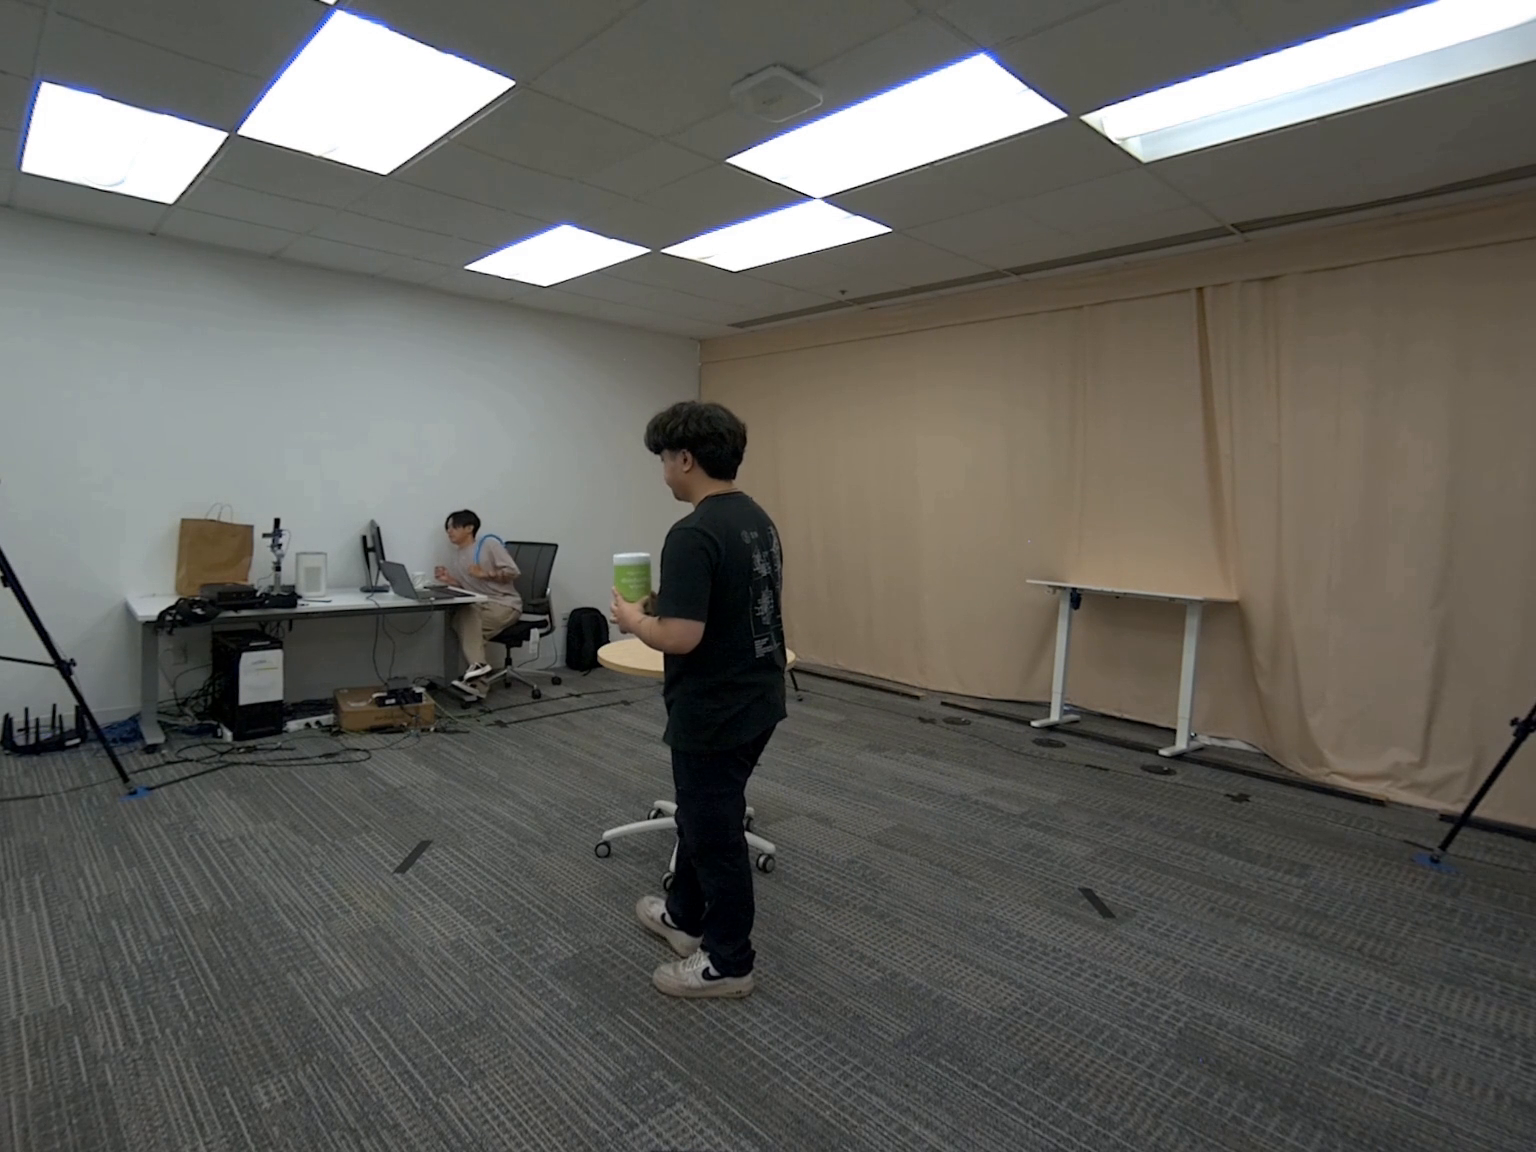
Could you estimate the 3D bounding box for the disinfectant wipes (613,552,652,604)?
[{"bbox_3d":[-0.390,0.044,2.429,0.118,0.217,0.118,-3,3,-1],"label":"disinfectant wipes"}]
